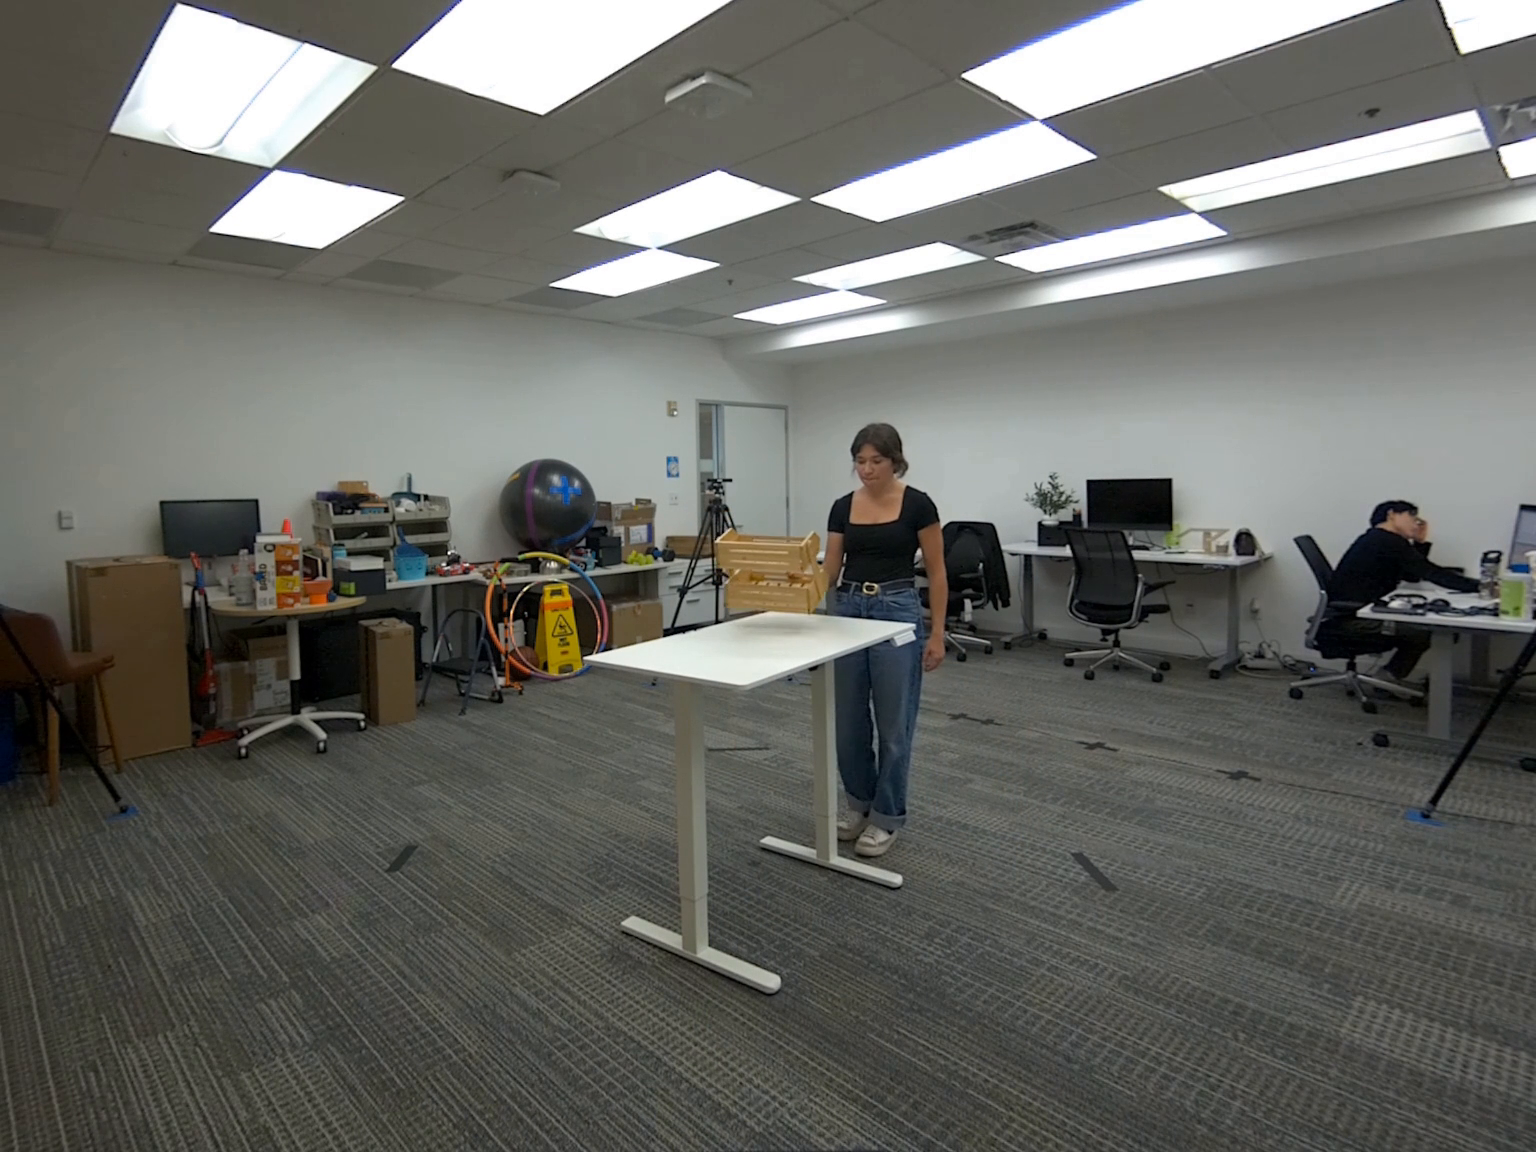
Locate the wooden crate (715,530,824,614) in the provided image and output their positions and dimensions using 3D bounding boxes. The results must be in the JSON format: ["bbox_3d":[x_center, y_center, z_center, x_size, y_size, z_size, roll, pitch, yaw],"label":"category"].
[{"bbox_3d":[0.022,-0.039,2.932,0.331,0.268,0.301,2,21,19],"label":"wooden crate"}]
